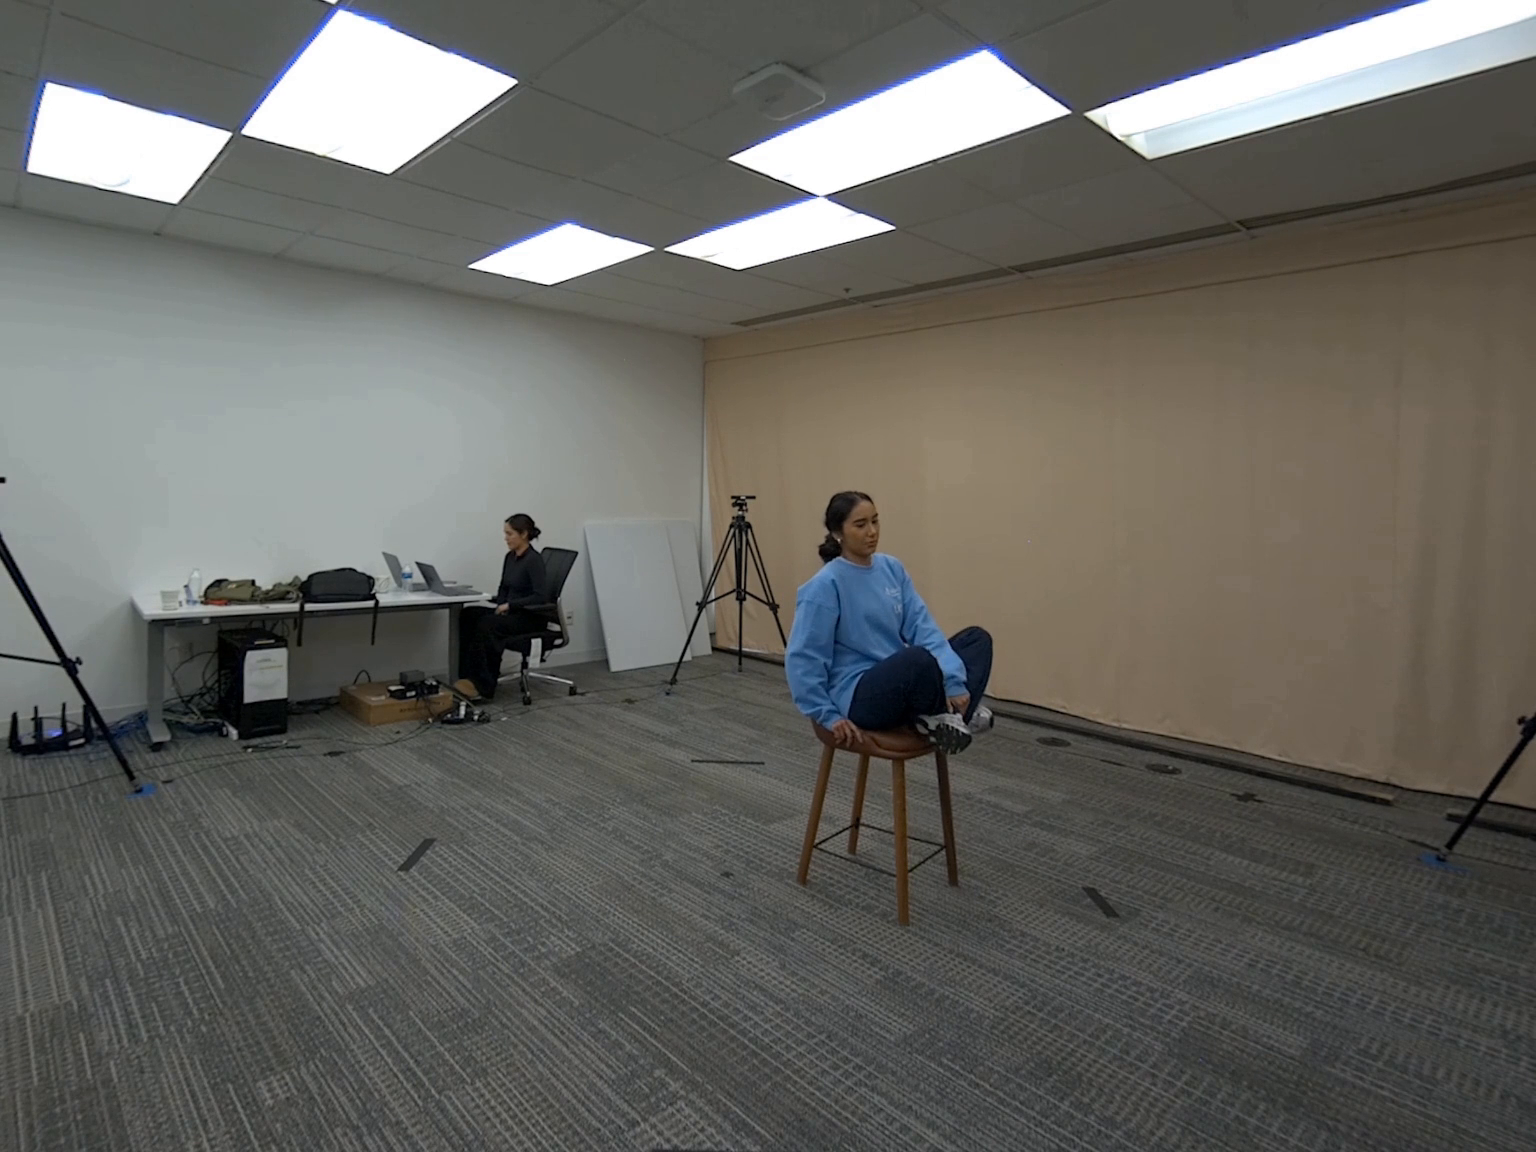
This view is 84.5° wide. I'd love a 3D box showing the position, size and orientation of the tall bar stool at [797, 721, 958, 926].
[{"bbox_3d":[0.394,0.686,3.033,0.479,0.888,0.446,2,2,39],"label":"tall bar stool"}]
